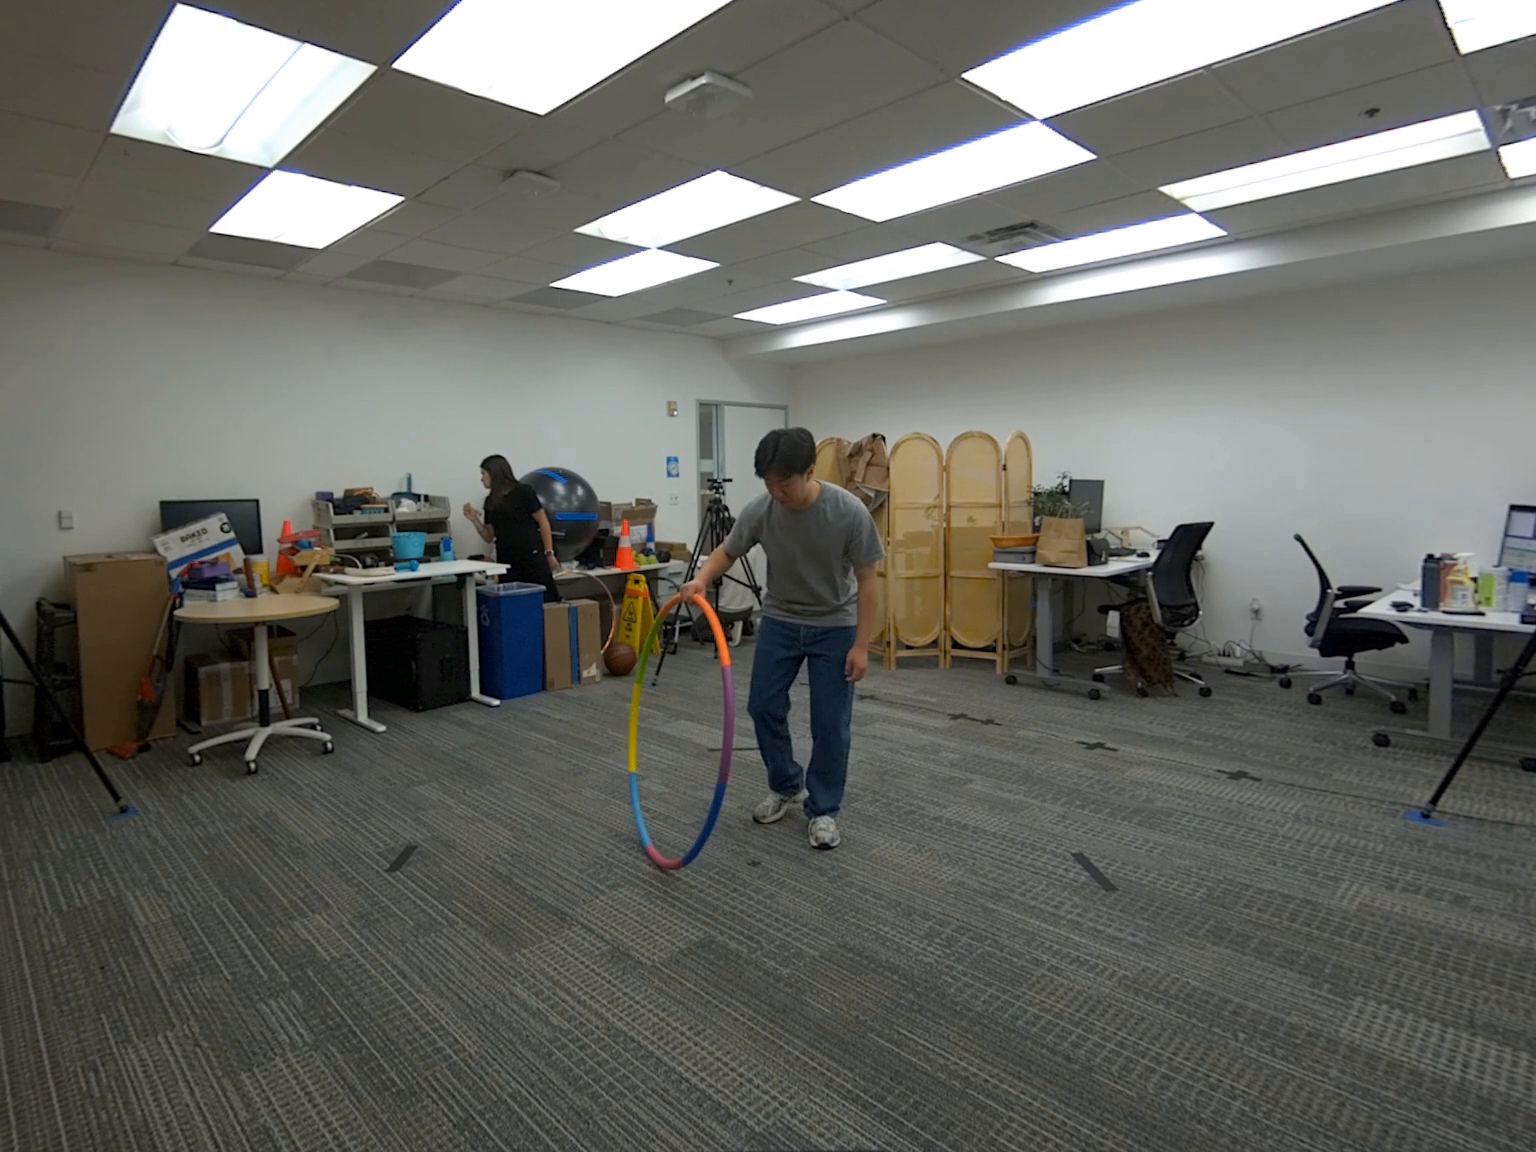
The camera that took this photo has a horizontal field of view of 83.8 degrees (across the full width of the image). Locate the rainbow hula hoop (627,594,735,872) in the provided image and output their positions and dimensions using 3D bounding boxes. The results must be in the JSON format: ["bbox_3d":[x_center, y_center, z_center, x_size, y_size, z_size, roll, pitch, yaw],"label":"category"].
[{"bbox_3d":[-0.359,0.560,3.152,0.035,0.979,1.003,9,0,-26],"label":"rainbow hula hoop"}]
